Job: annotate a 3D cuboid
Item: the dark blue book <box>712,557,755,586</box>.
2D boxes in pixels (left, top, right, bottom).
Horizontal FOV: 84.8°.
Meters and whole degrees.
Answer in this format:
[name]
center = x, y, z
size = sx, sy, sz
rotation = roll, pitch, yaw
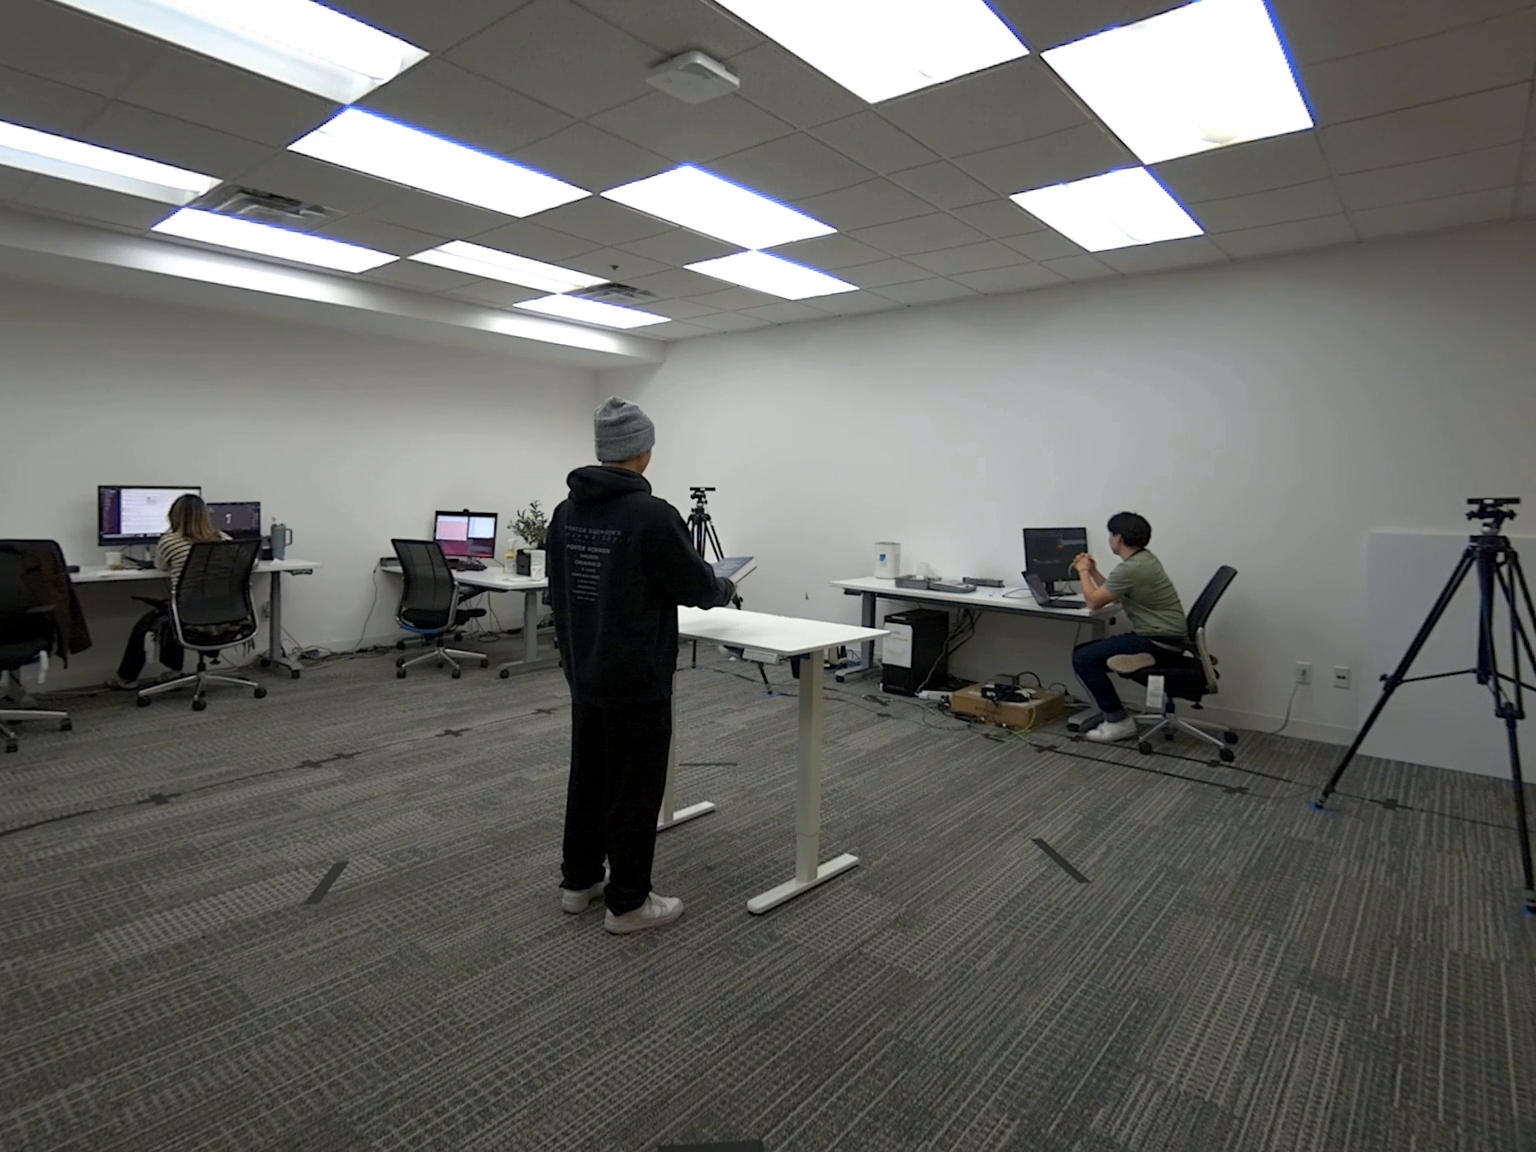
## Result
[dark blue book]
center = -0.171, 0.004, 3.098
size = 0.168, 0.044, 0.243
rotation = -1, 27, 40
